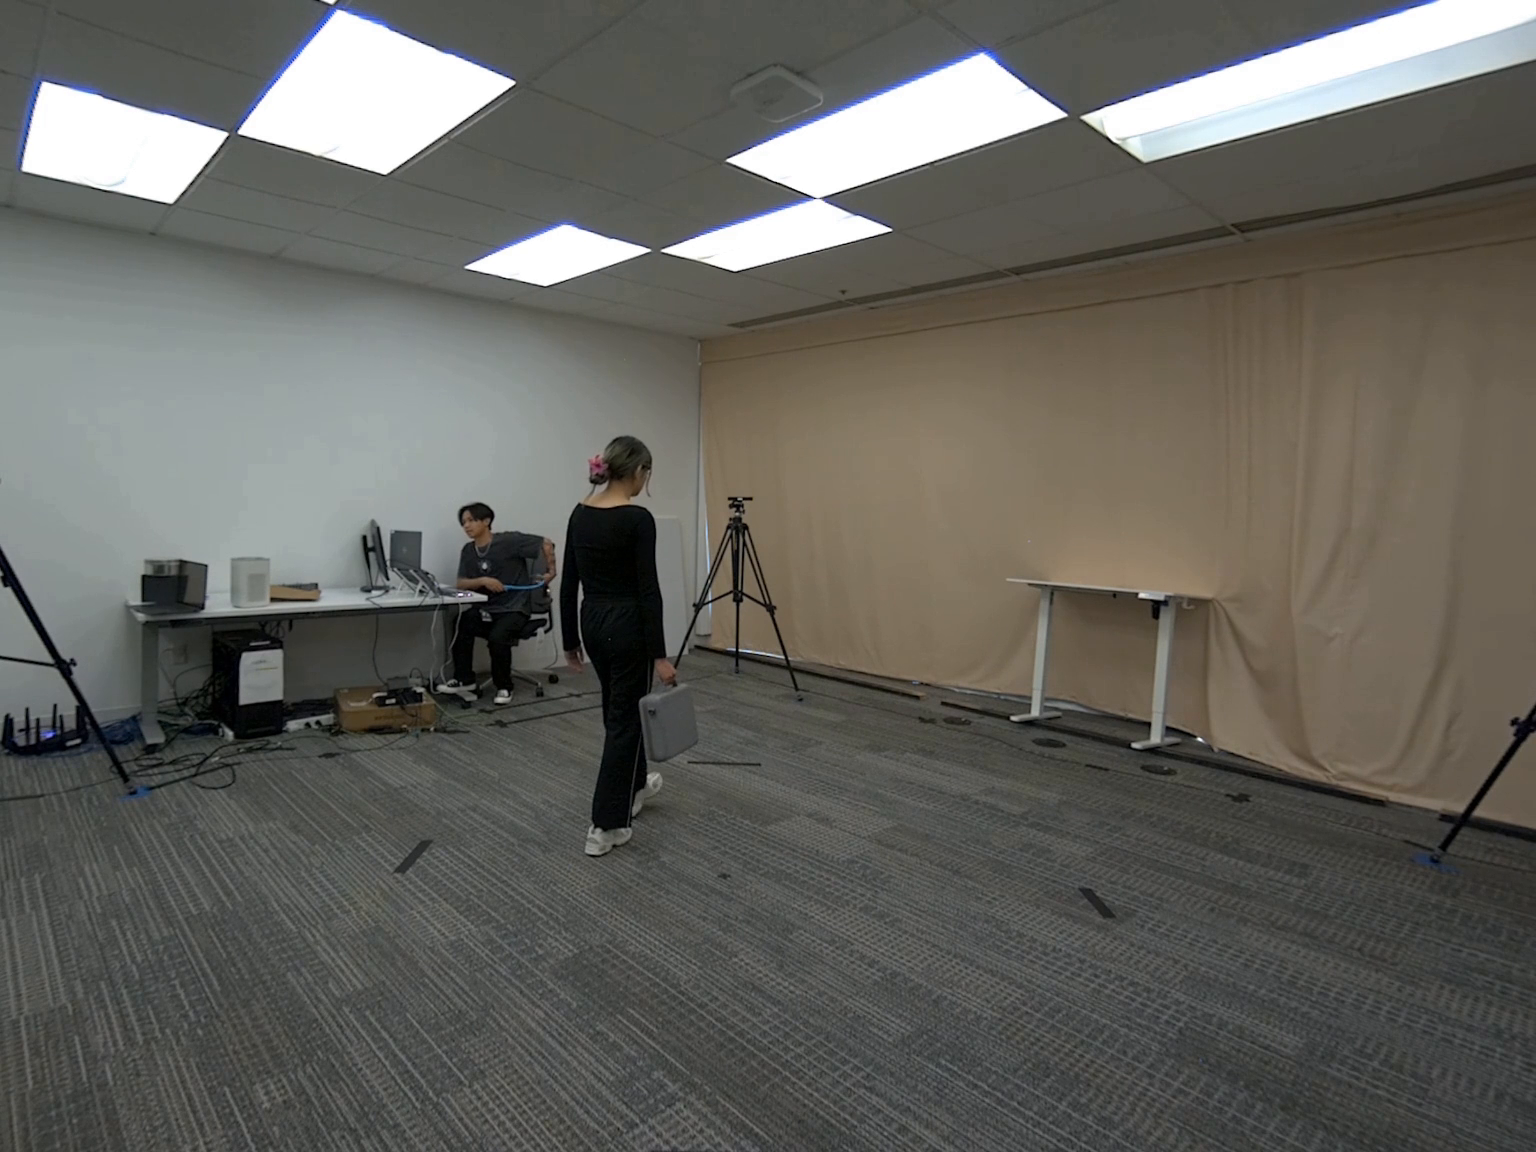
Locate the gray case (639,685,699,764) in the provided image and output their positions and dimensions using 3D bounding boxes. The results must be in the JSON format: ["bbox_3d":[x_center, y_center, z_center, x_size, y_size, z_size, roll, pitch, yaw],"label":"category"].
[{"bbox_3d":[-0.396,0.561,3.280,0.106,0.260,0.253,-4,3,23],"label":"gray case"}]
